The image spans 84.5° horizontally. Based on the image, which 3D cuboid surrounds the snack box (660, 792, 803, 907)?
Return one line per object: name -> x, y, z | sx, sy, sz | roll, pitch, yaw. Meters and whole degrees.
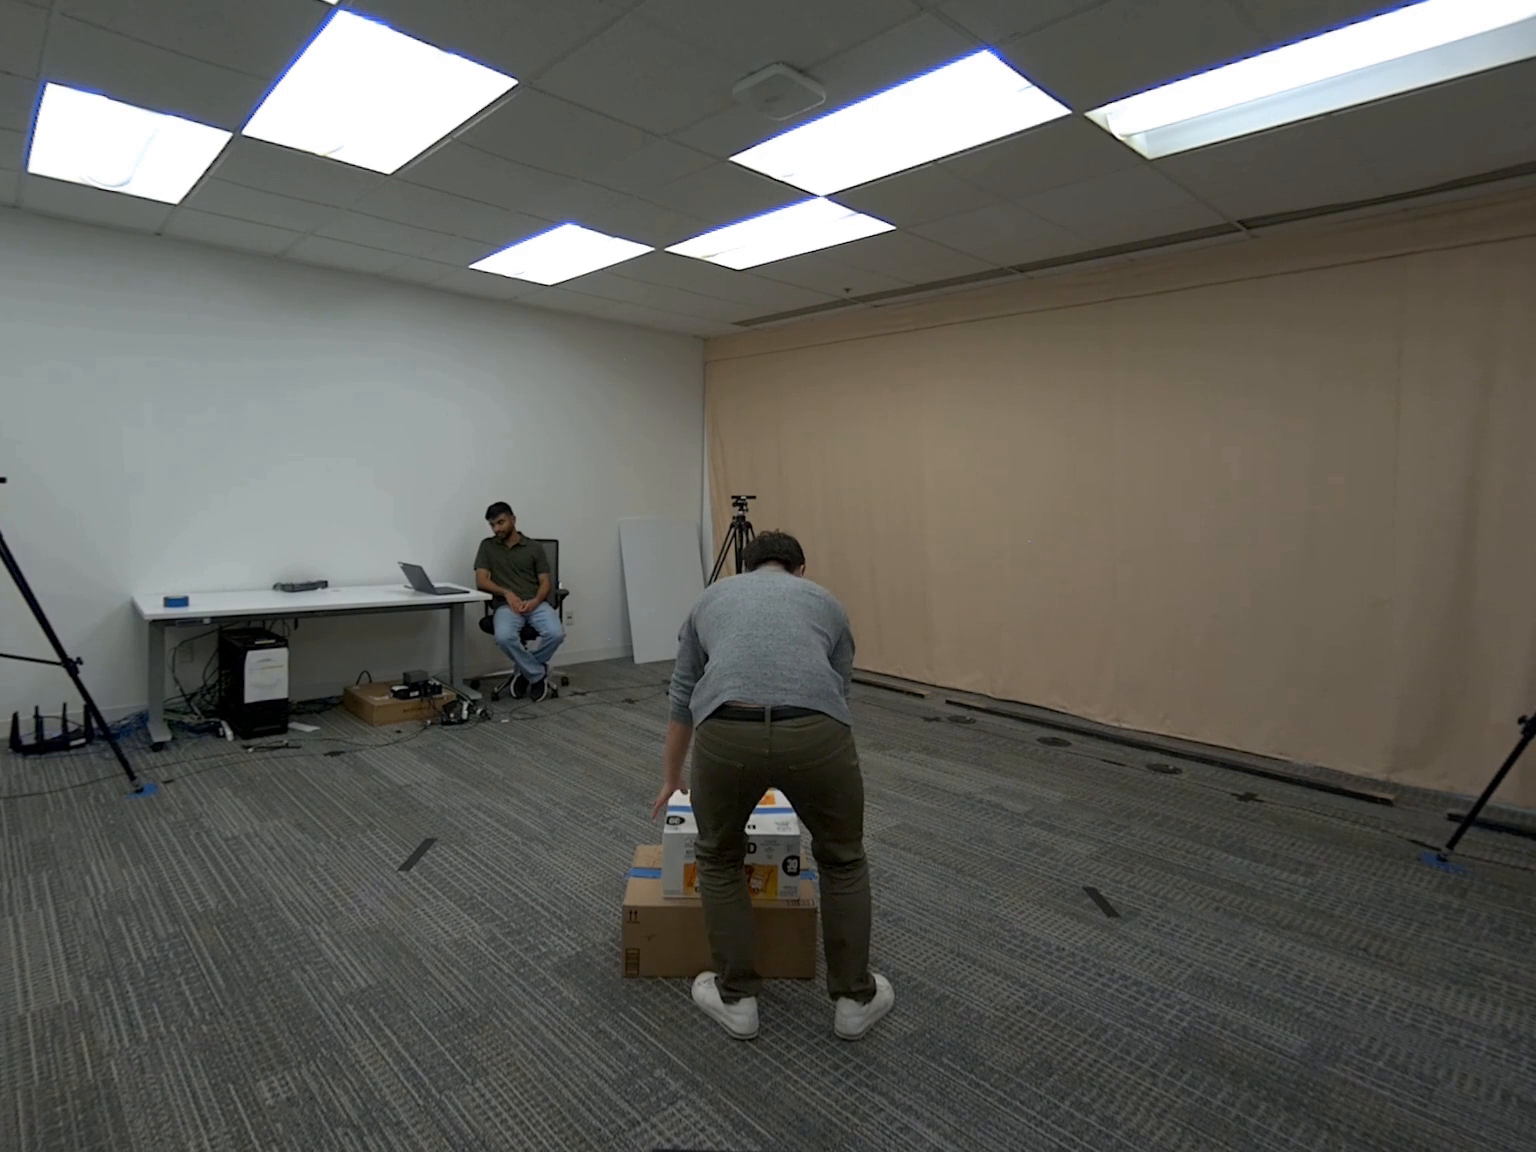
snack box -> -0.116, 0.833, 2.613 | 0.405, 0.205, 0.342 | 1, 6, -2
